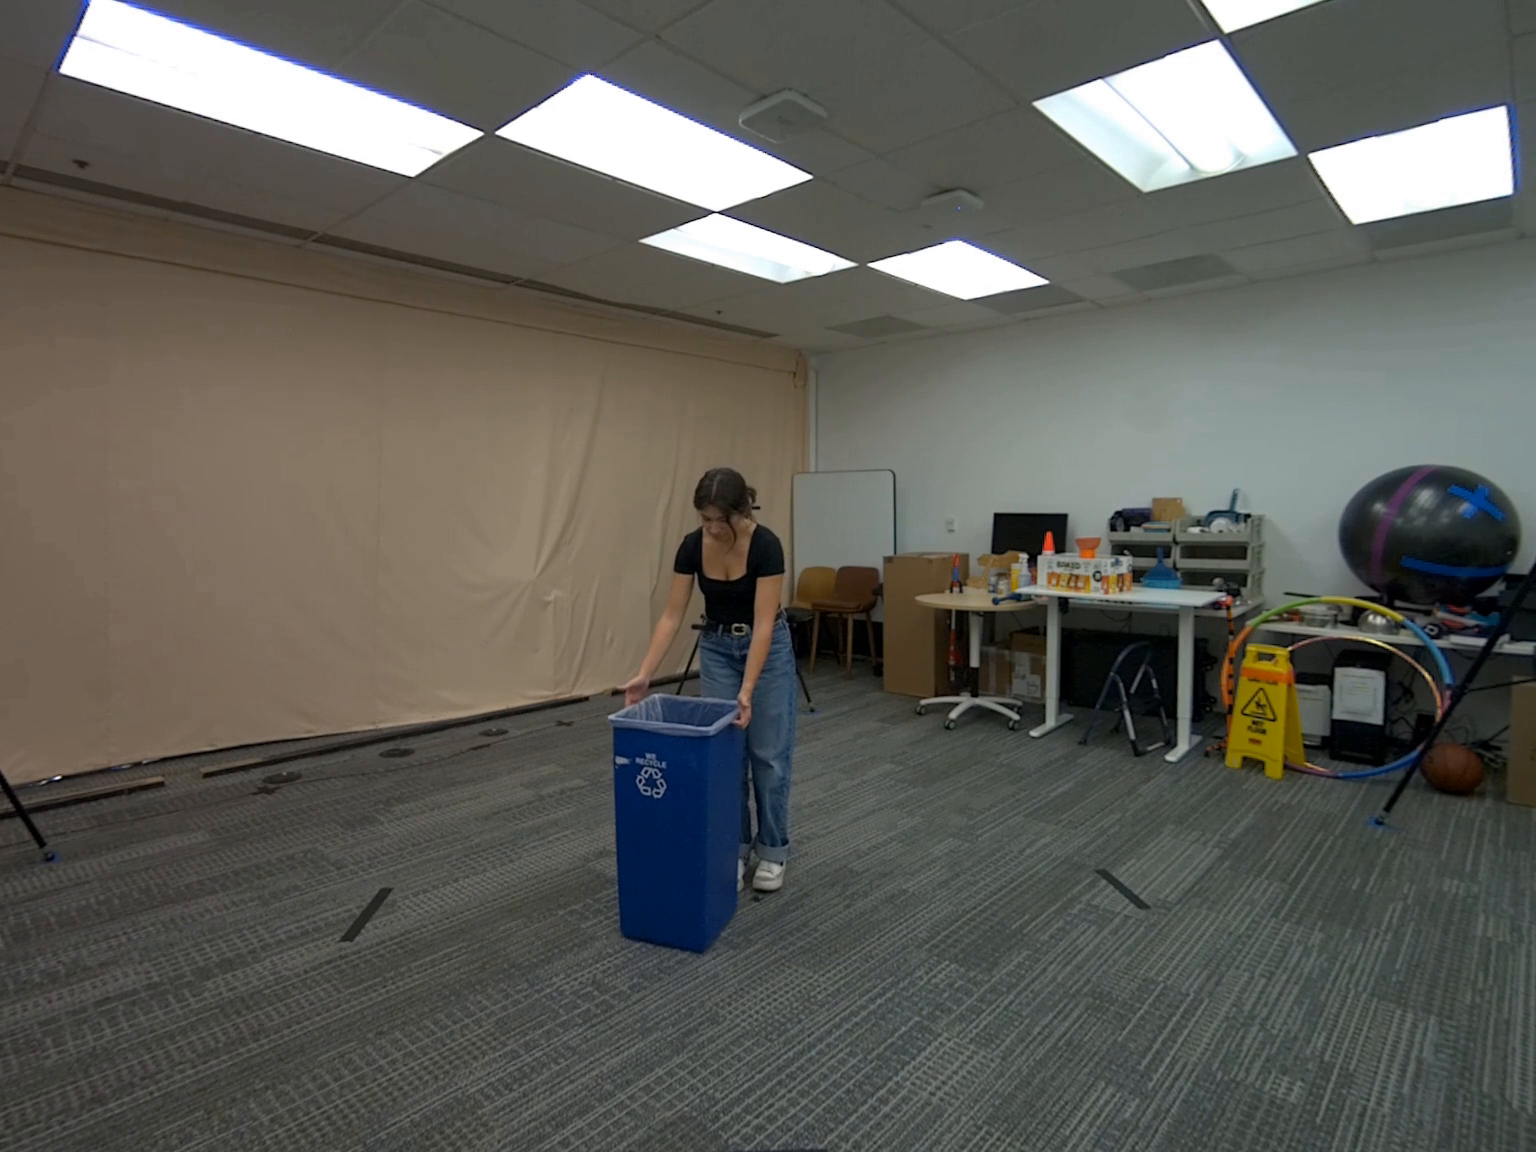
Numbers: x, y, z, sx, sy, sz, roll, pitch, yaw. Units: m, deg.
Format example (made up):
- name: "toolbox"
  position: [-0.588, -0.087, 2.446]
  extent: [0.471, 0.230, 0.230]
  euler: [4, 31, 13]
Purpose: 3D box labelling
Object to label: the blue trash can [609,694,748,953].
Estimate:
- name: "blue trash can"
  position: [-0.282, 0.793, 2.781]
  extent: [0.382, 0.712, 0.371]
  euler: [1, 3, 20]
